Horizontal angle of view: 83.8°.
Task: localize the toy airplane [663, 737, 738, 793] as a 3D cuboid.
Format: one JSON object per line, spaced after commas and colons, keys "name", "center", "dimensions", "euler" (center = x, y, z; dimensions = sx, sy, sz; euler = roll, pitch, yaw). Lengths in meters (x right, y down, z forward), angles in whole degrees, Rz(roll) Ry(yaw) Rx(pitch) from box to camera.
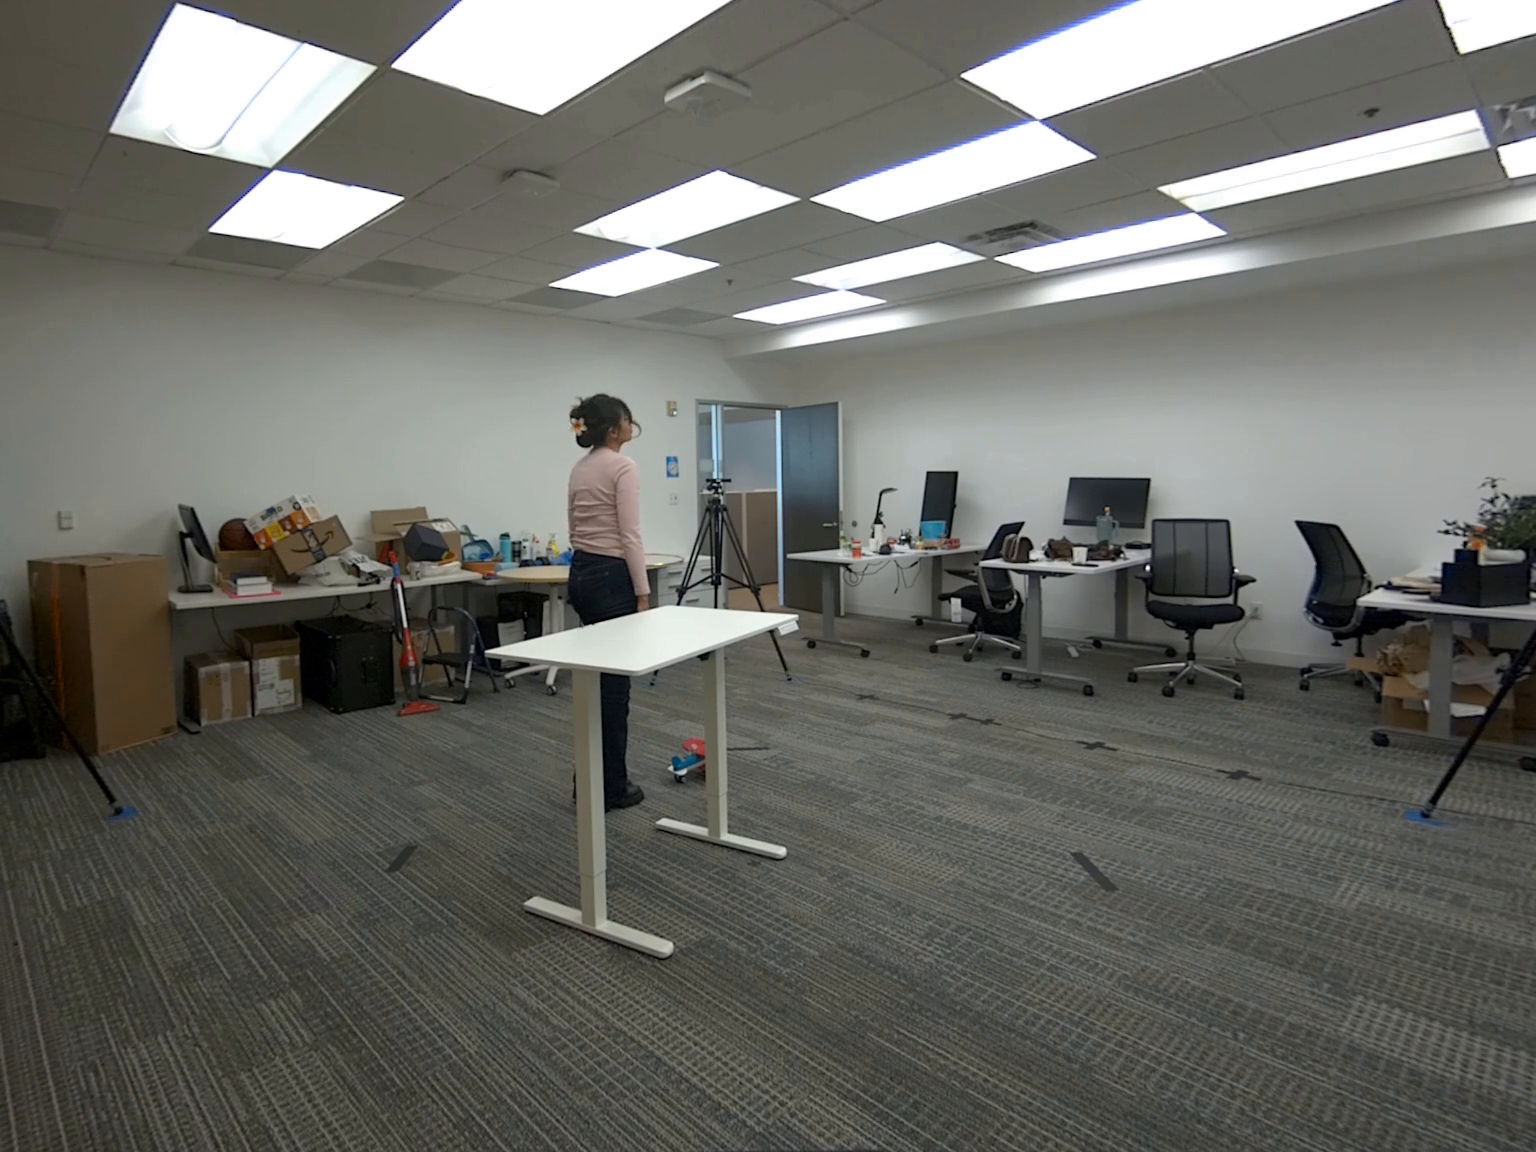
{"name": "toy airplane", "center": [-0.315, 0.877, 4.010], "dimensions": [0.257, 0.156, 0.254], "euler": [2, 5, 24]}
